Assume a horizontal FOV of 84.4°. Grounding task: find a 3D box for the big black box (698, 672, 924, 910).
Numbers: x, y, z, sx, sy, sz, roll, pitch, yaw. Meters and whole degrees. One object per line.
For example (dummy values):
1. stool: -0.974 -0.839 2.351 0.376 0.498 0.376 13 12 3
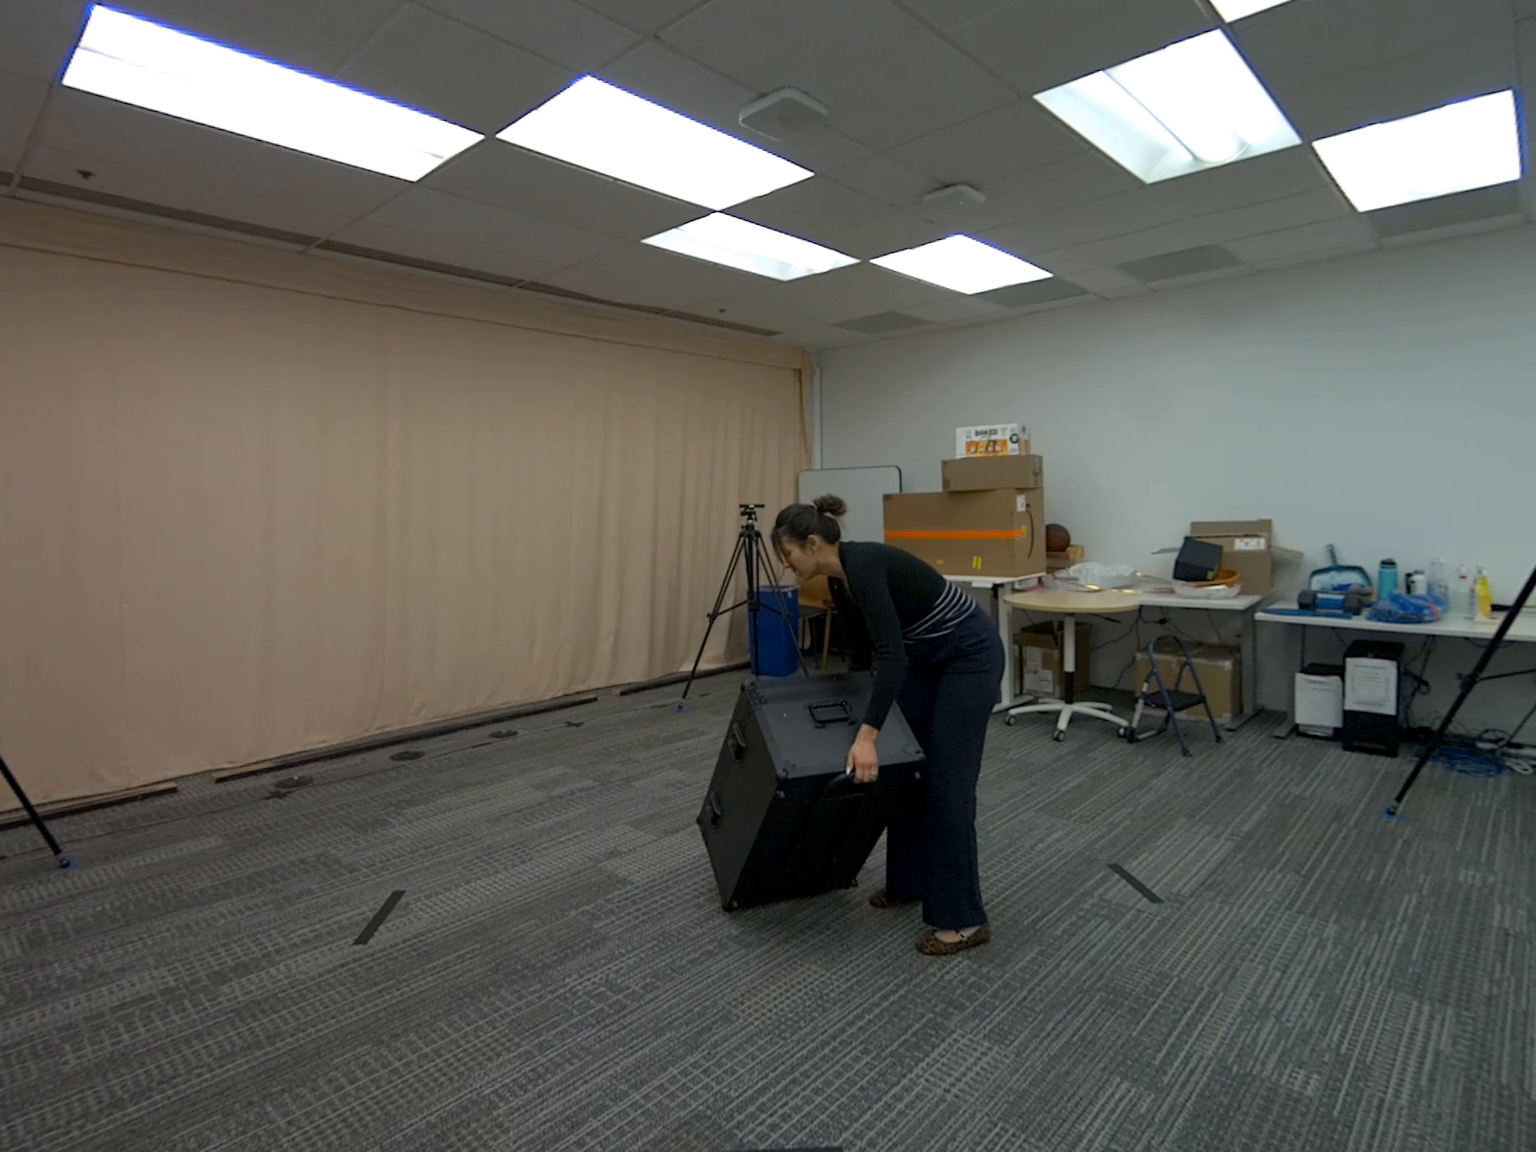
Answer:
1. big black box: 0.114 0.715 2.774 0.511 0.853 0.408 -3 44 -22
